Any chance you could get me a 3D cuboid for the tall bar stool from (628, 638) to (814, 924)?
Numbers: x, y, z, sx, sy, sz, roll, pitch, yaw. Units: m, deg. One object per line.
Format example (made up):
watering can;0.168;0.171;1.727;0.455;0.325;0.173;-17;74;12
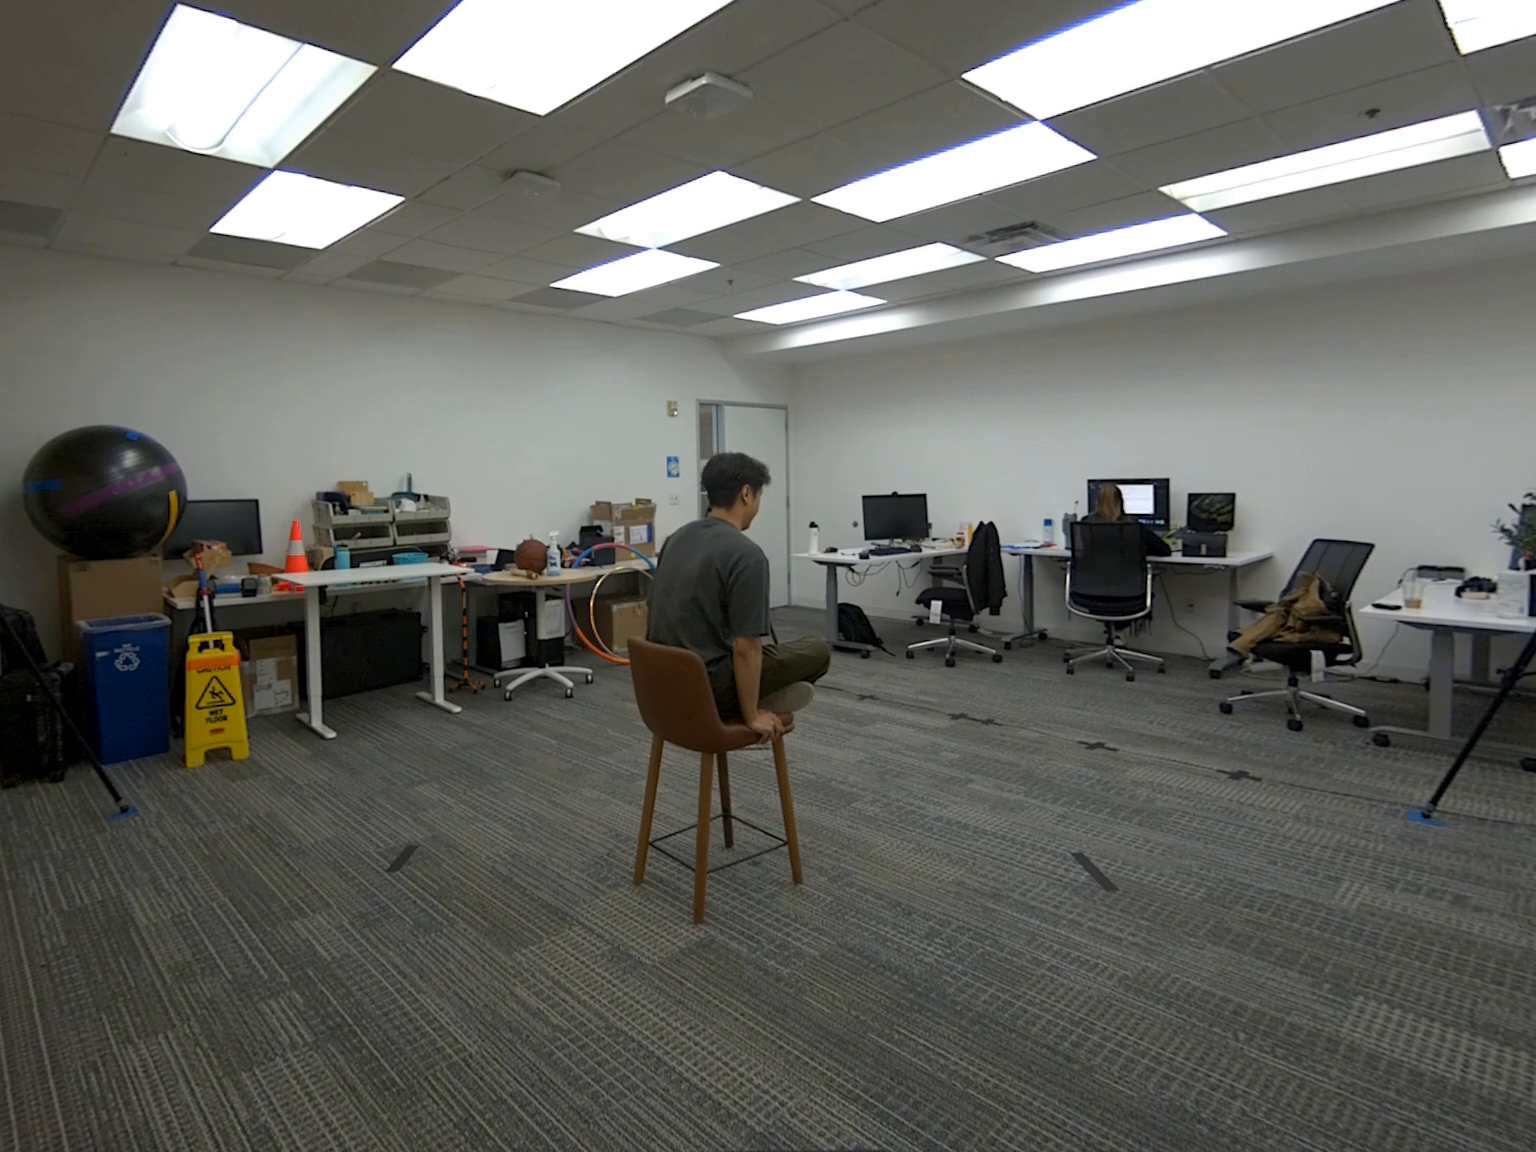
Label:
tall bar stool;-0.193;0.632;2.937;0.456;0.885;0.470;-7;8;-40
